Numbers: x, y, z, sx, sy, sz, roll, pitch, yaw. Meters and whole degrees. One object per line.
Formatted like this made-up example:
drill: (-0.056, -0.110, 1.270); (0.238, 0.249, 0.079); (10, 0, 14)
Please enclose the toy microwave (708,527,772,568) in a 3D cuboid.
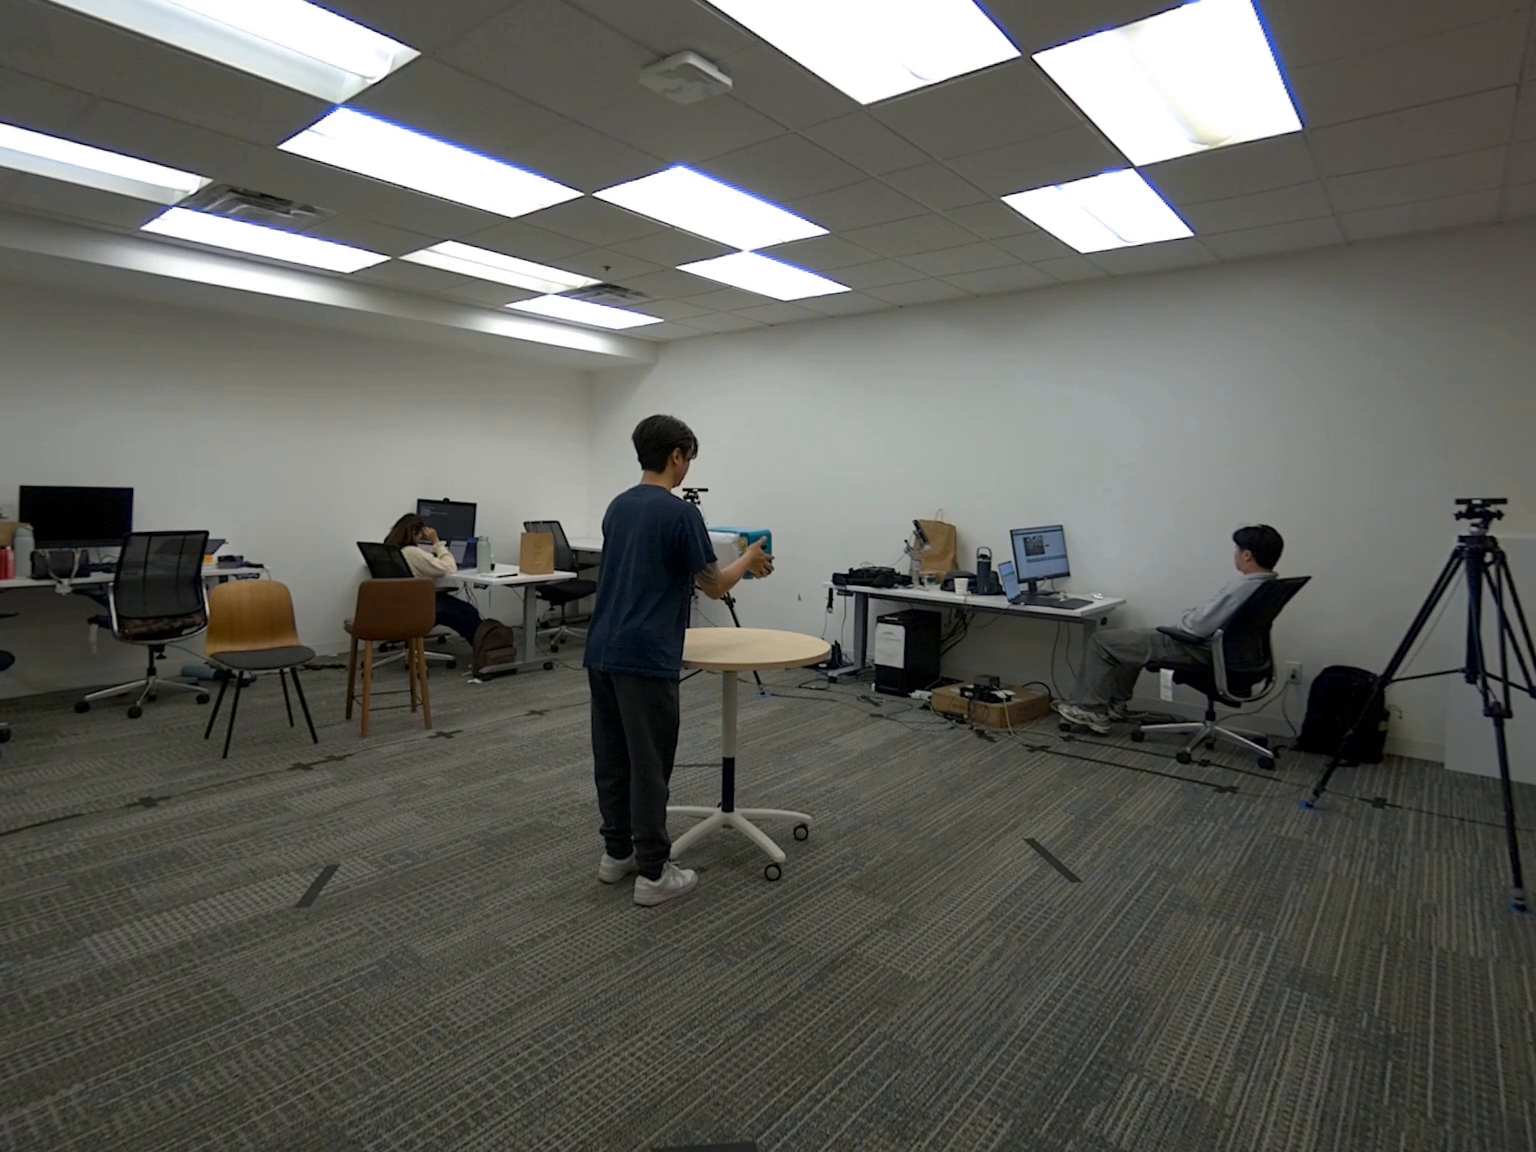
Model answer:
toy microwave: (-0.148, -0.093, 3.289); (0.296, 0.183, 0.148); (5, 7, 42)
